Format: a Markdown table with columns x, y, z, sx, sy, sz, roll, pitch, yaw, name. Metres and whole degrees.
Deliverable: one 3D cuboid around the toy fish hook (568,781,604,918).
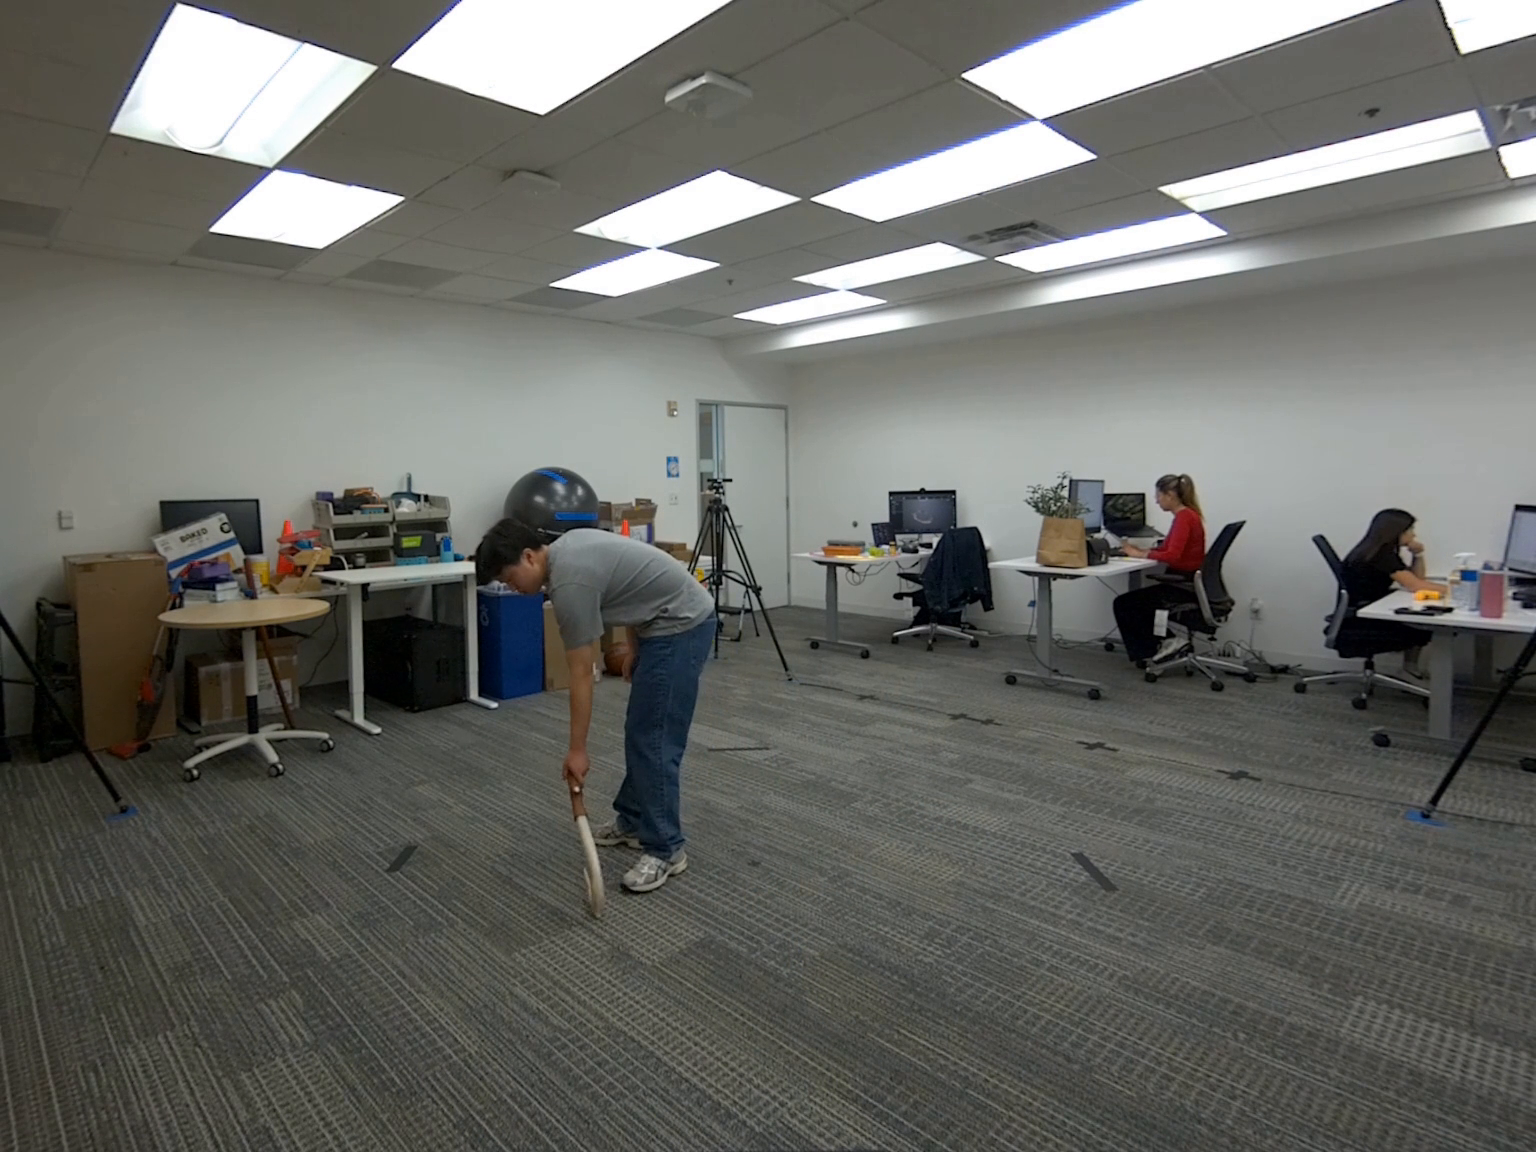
| x | y | z | sx | sy | sz | roll | pitch | yaw | name |
| --- | --- | --- | --- | --- | --- | --- | --- | --- | --- |
| -0.620 | 0.892 | 2.881 | 0.047 | 0.221 | 0.525 | -1 | 42 | -23 | toy fish hook |
